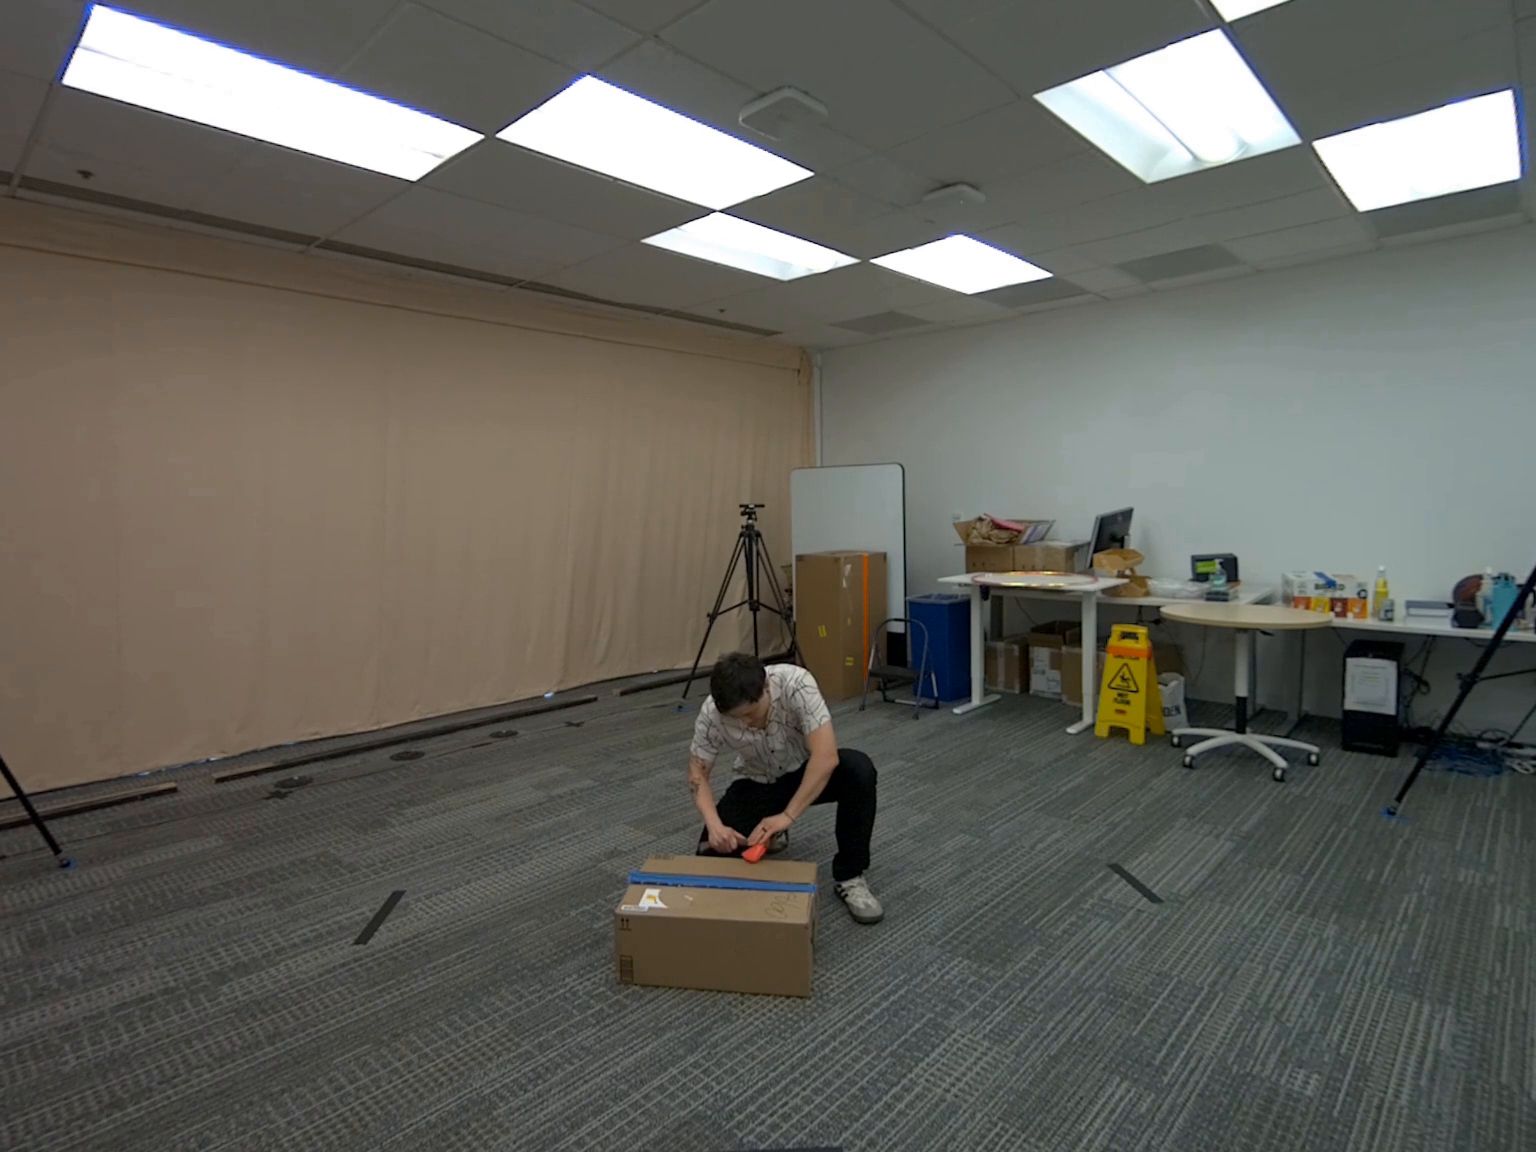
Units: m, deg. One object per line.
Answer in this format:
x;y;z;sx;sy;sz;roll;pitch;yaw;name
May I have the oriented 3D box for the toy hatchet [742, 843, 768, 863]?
-0.119;0.918;2.822;0.274;0.029;0.132;-14;27;15;toy hatchet
